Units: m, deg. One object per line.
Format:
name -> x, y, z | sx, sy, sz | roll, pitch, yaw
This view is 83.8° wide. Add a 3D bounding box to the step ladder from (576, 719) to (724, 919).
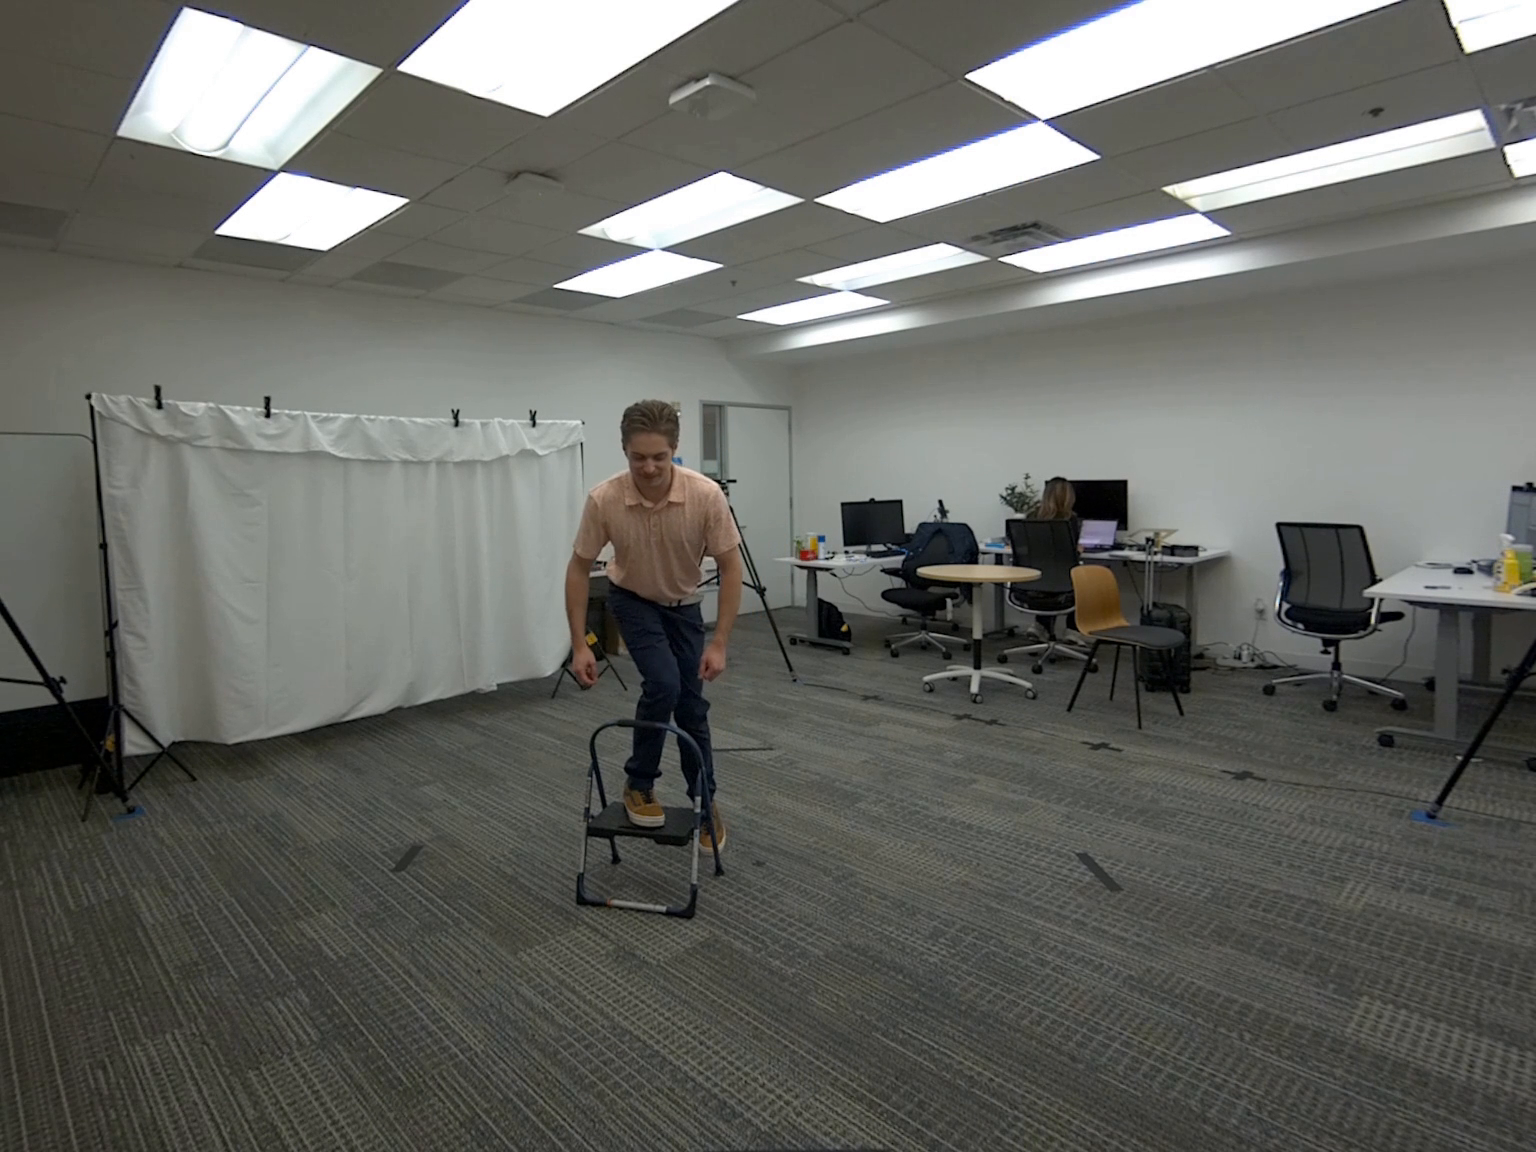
step ladder -> -0.408, 0.776, 2.919 | 0.437, 0.603, 0.346 | 0, 5, 15
